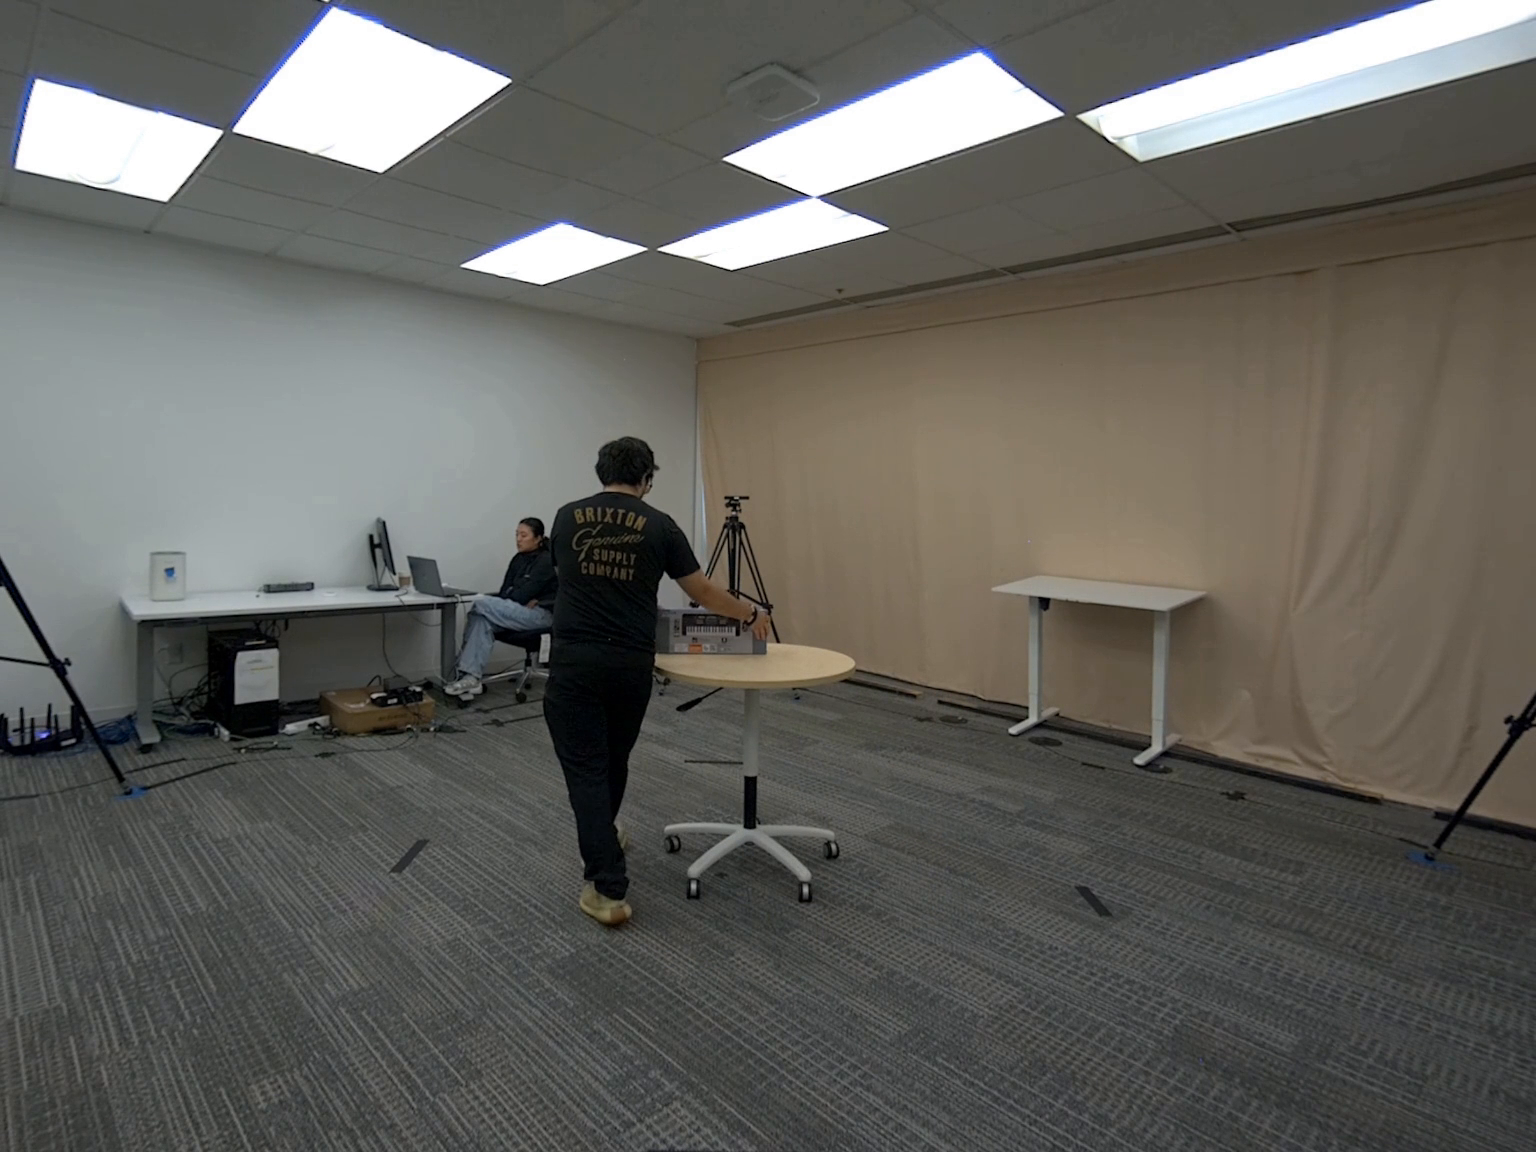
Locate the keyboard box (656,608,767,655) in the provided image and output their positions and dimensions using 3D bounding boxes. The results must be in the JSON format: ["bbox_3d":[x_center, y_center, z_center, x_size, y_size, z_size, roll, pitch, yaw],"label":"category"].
[{"bbox_3d":[-0.229,0.214,3.292,0.435,0.176,0.059,1,-1,-4],"label":"keyboard box"}]
